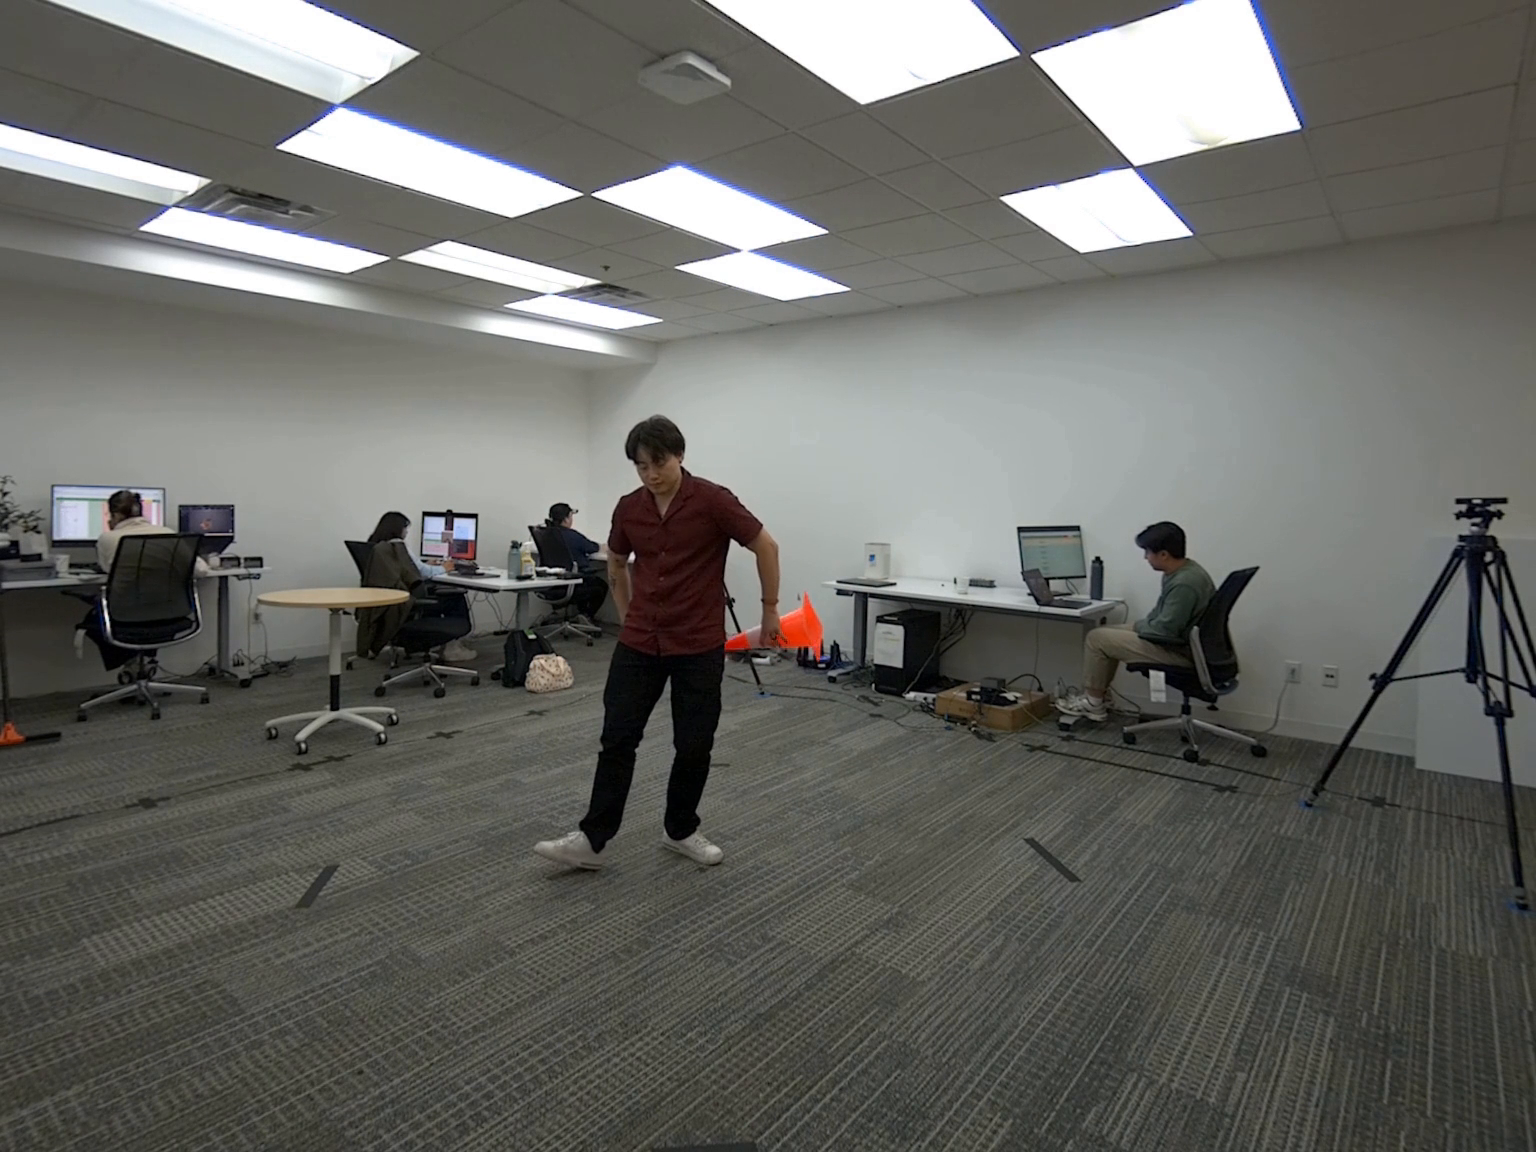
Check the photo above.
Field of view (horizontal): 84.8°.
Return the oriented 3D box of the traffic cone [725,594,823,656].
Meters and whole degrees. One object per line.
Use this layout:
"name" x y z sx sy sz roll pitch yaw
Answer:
"traffic cone" -0.025 0.231 3.284 0.389 0.196 0.209 -13 36 19
